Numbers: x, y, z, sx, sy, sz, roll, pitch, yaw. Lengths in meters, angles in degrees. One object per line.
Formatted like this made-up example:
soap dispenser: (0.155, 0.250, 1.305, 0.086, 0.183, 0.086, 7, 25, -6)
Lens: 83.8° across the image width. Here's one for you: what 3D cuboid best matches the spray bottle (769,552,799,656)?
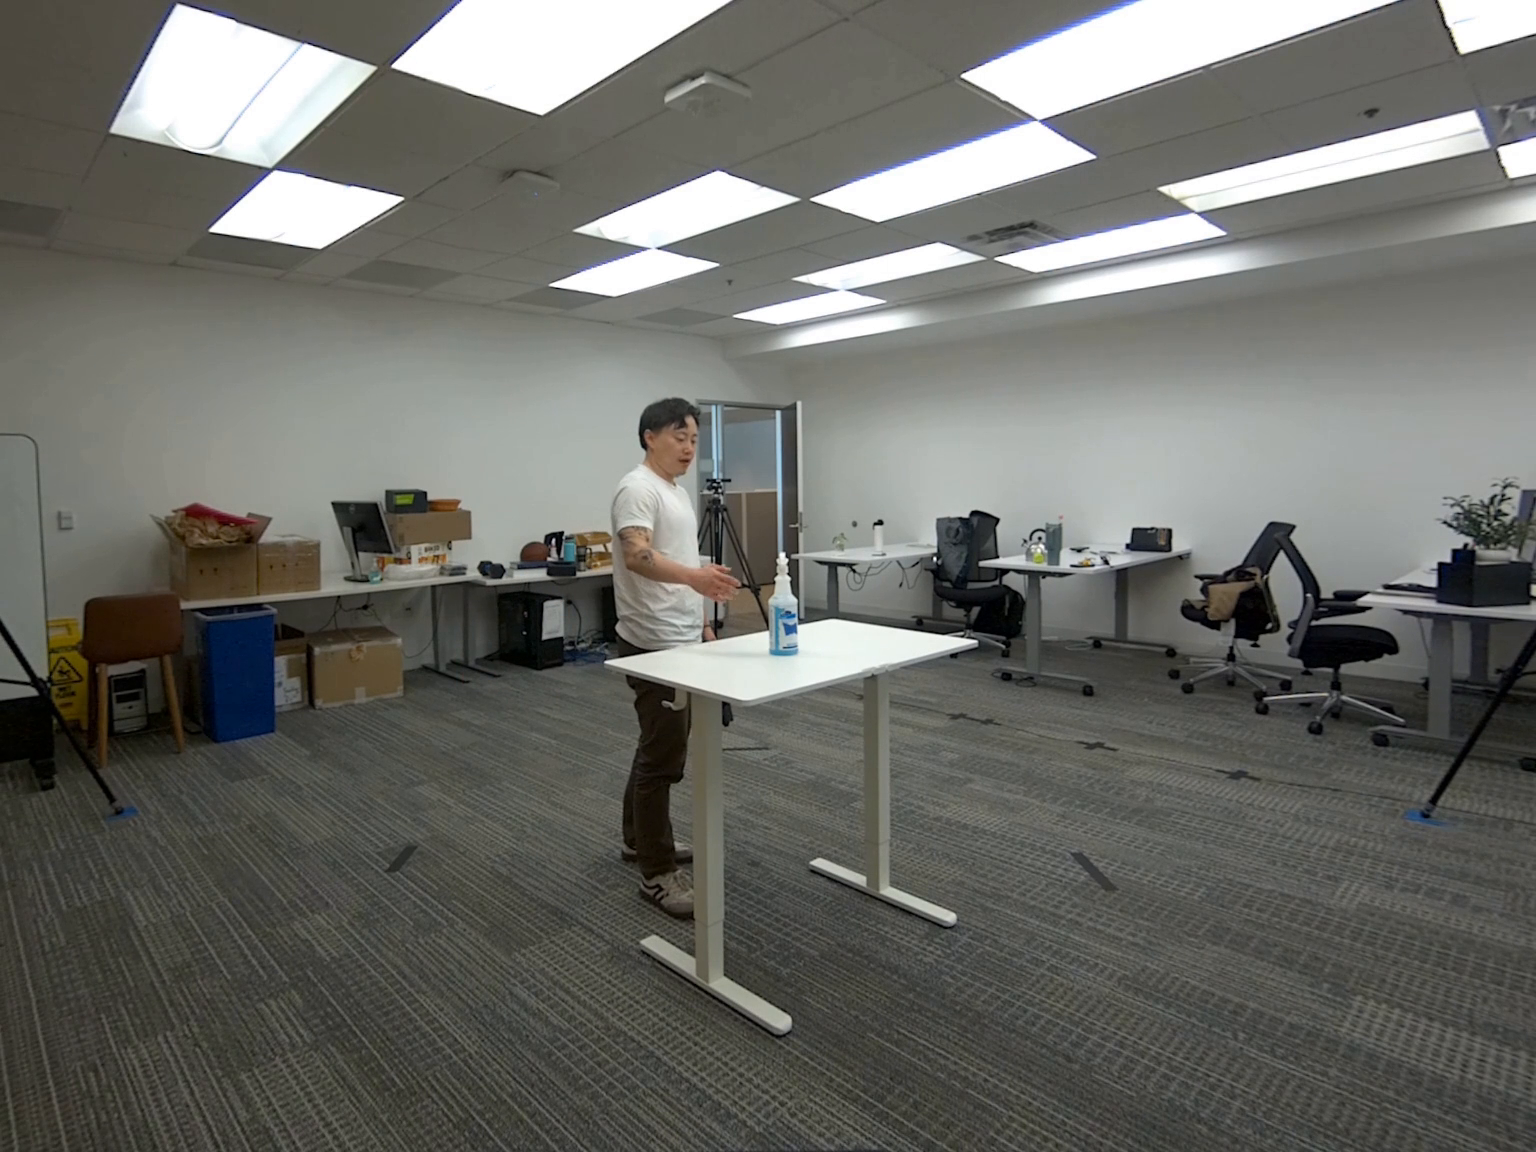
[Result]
spray bottle: (0.047, 0.084, 2.523, 0.089, 0.297, 0.088, 0, 2, 26)
